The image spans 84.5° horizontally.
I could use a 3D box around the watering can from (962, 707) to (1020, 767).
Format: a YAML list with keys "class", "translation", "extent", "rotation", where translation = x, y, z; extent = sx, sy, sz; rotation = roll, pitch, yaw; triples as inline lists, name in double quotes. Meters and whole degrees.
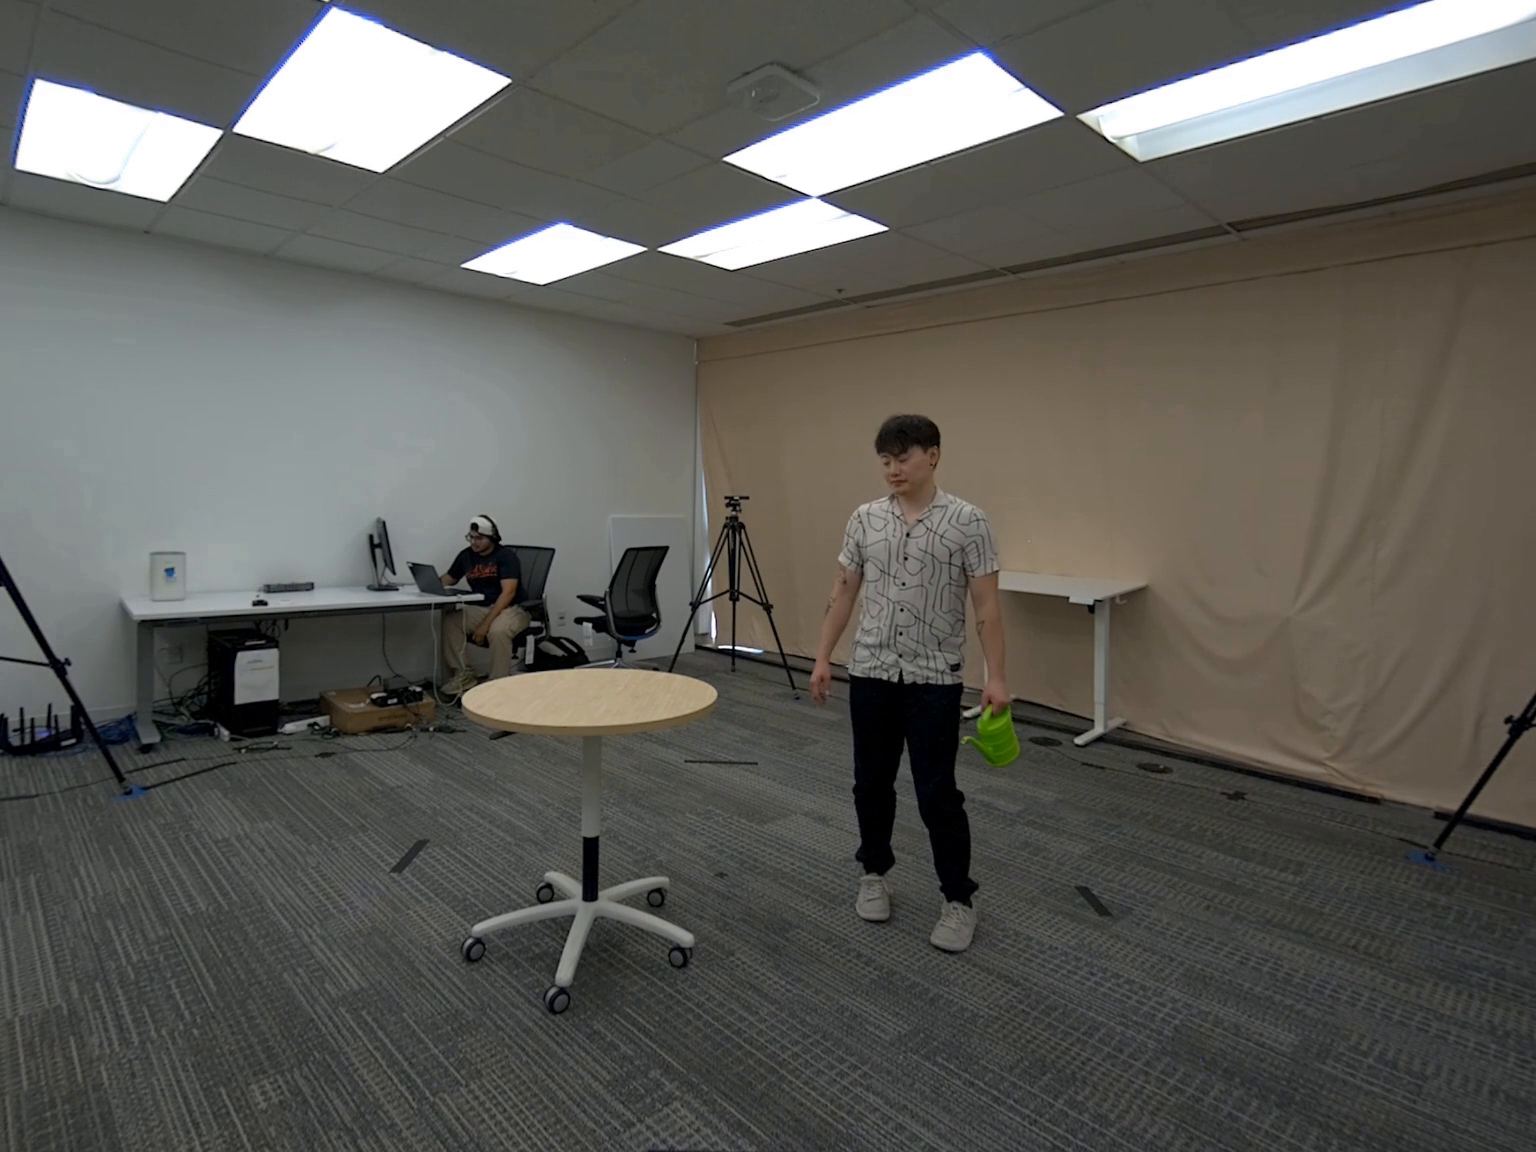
- class: "watering can"
  translation: [0.652, 0.493, 2.557]
  extent: [0.275, 0.174, 0.100]
  rotation: [-29, 17, -32]
